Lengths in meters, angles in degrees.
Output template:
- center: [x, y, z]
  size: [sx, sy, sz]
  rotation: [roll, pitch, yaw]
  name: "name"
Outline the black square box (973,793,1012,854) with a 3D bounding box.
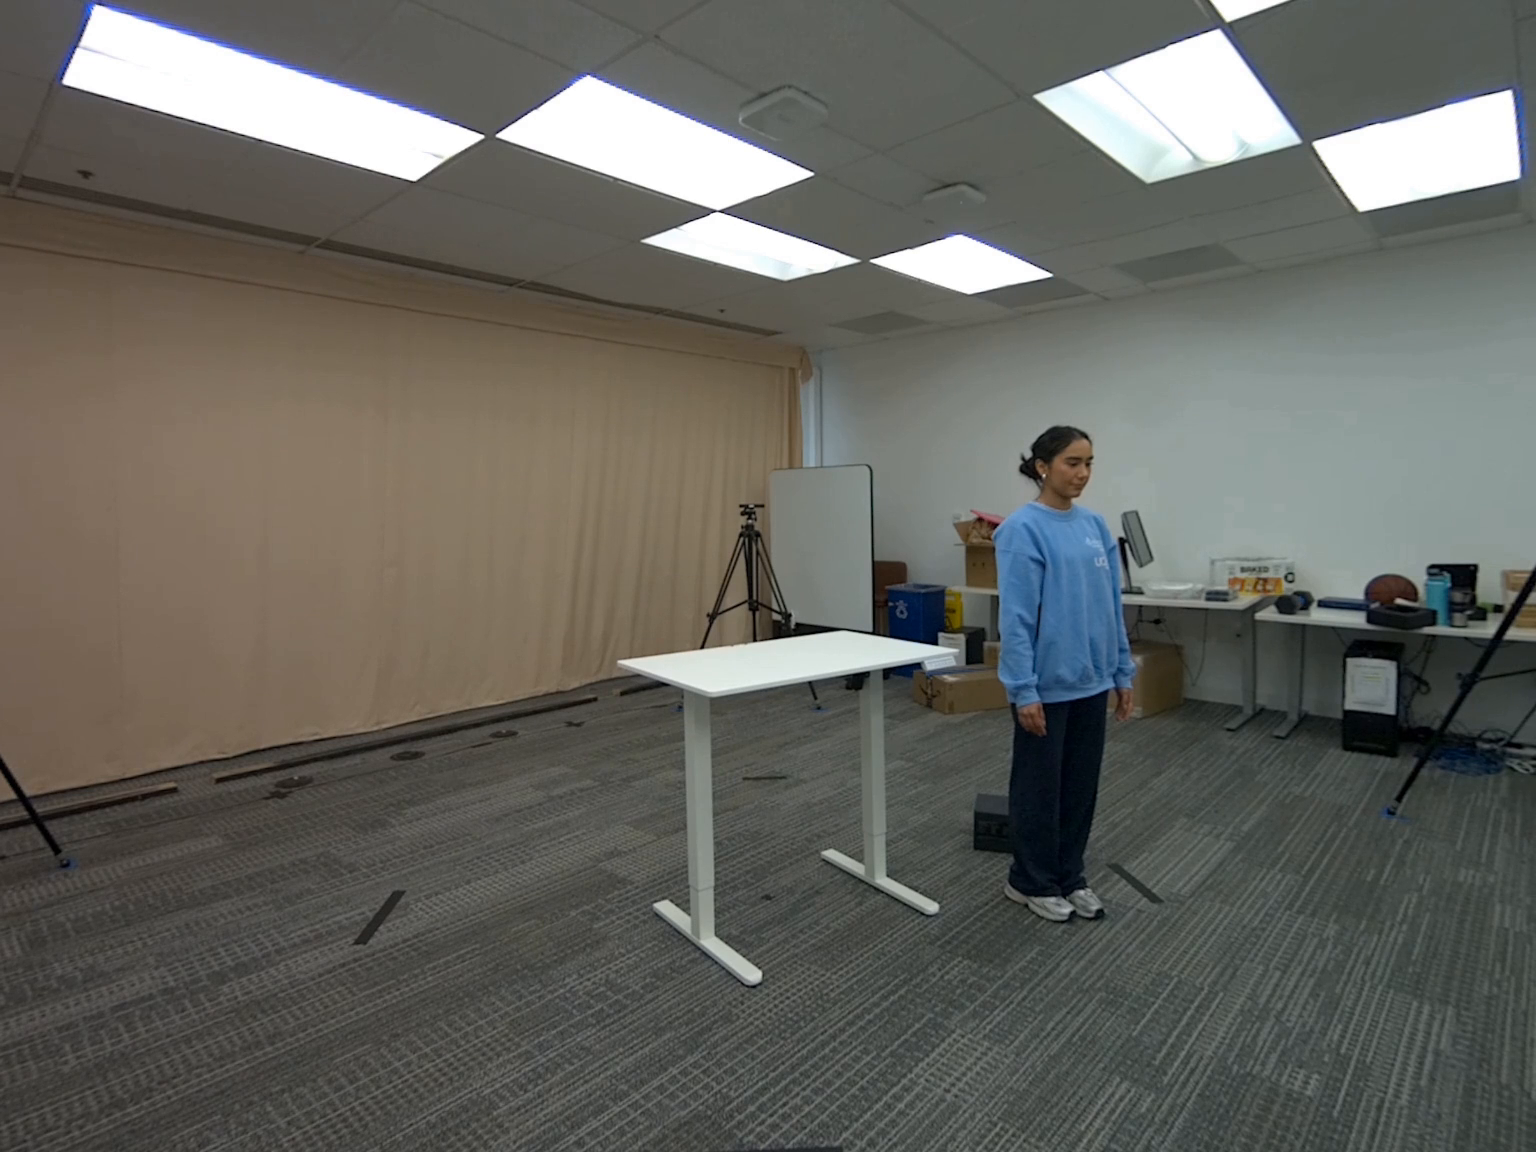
- center: [0.959, 1.002, 3.427]
  size: [0.221, 0.155, 0.224]
  rotation: [1, 5, 18]
  name: "black square box"
